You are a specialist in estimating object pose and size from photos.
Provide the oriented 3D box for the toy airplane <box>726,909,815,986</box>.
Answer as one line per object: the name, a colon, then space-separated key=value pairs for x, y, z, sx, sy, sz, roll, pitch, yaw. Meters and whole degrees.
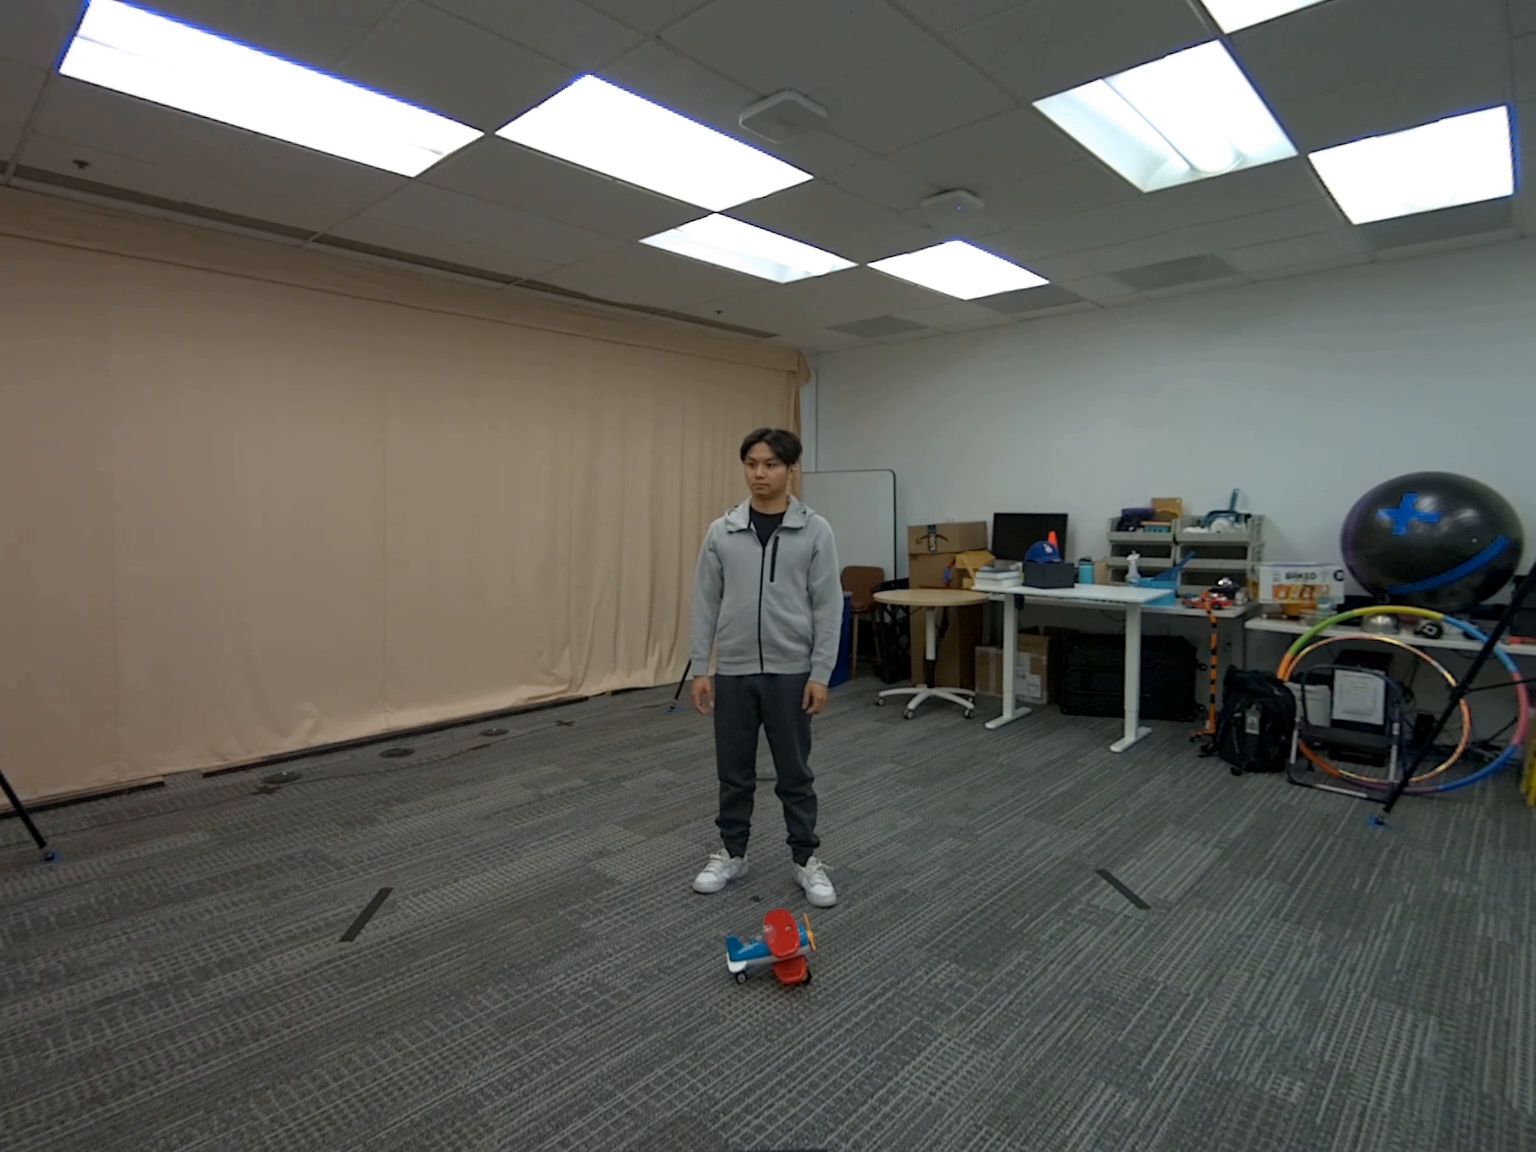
toy airplane: x=0.016 y=1.121 z=2.456 sx=0.252 sy=0.156 sz=0.259 roll=-3 pitch=6 yaw=-31
